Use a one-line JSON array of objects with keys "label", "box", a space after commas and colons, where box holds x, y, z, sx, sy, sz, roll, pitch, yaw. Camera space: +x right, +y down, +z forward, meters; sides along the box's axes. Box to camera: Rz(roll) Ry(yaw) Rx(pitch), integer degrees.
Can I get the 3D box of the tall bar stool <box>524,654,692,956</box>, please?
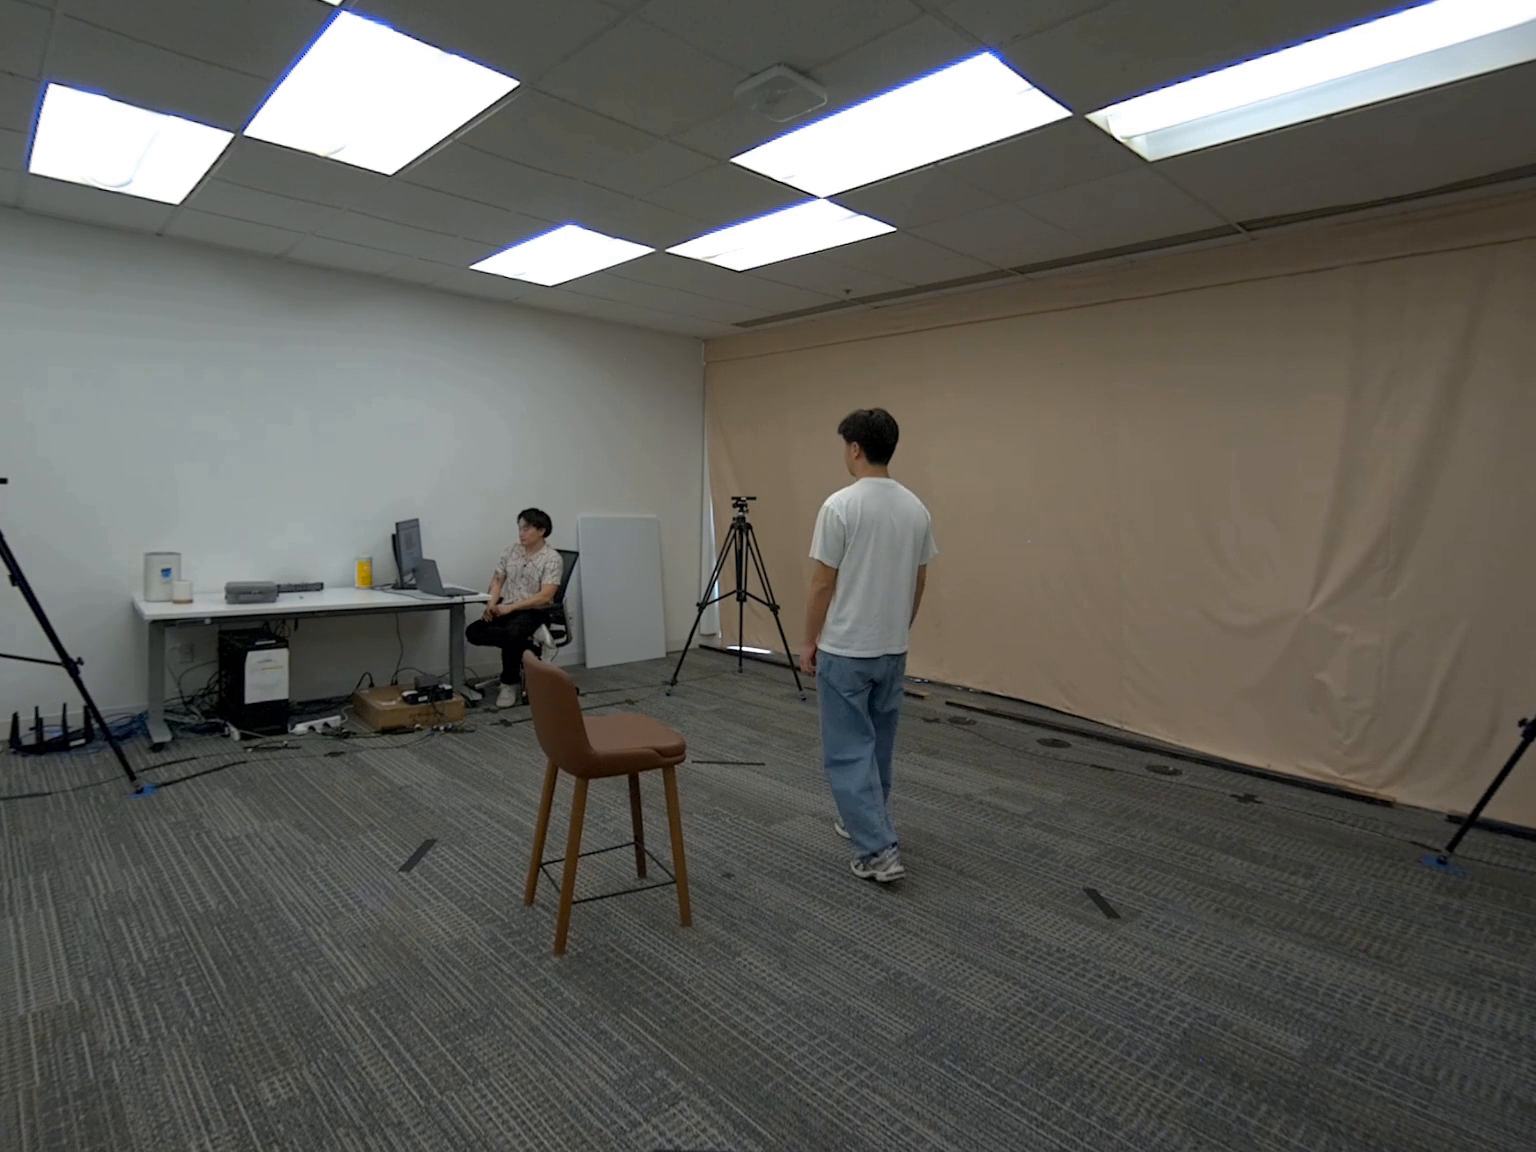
[{"label": "tall bar stool", "box": [-0.543, 0.691, 2.775, 0.458, 0.887, 0.467, -3, 5, -30]}]
